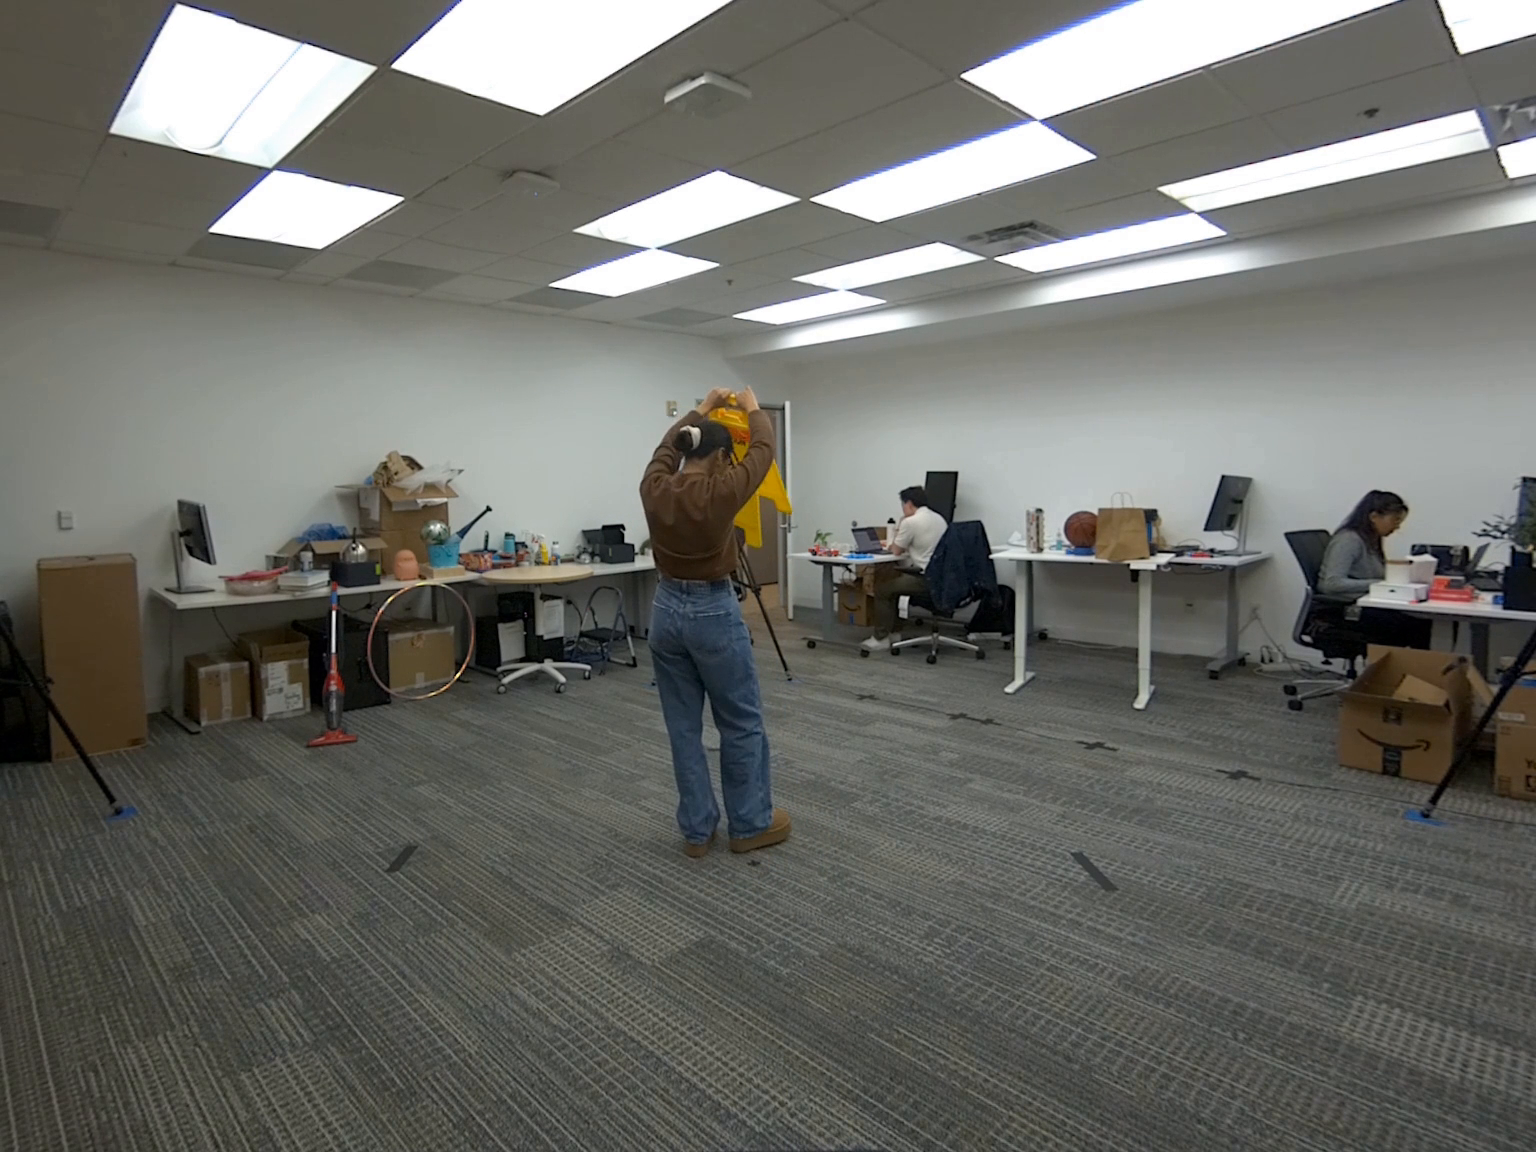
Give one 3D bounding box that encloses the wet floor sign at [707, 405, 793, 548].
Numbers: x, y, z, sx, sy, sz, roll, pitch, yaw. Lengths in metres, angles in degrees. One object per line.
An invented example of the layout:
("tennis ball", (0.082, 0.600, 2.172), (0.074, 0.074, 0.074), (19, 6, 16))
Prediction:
("wet floor sign", (-0.107, -0.483, 3.623), (0.291, 0.627, 0.289), (19, 45, 29))
